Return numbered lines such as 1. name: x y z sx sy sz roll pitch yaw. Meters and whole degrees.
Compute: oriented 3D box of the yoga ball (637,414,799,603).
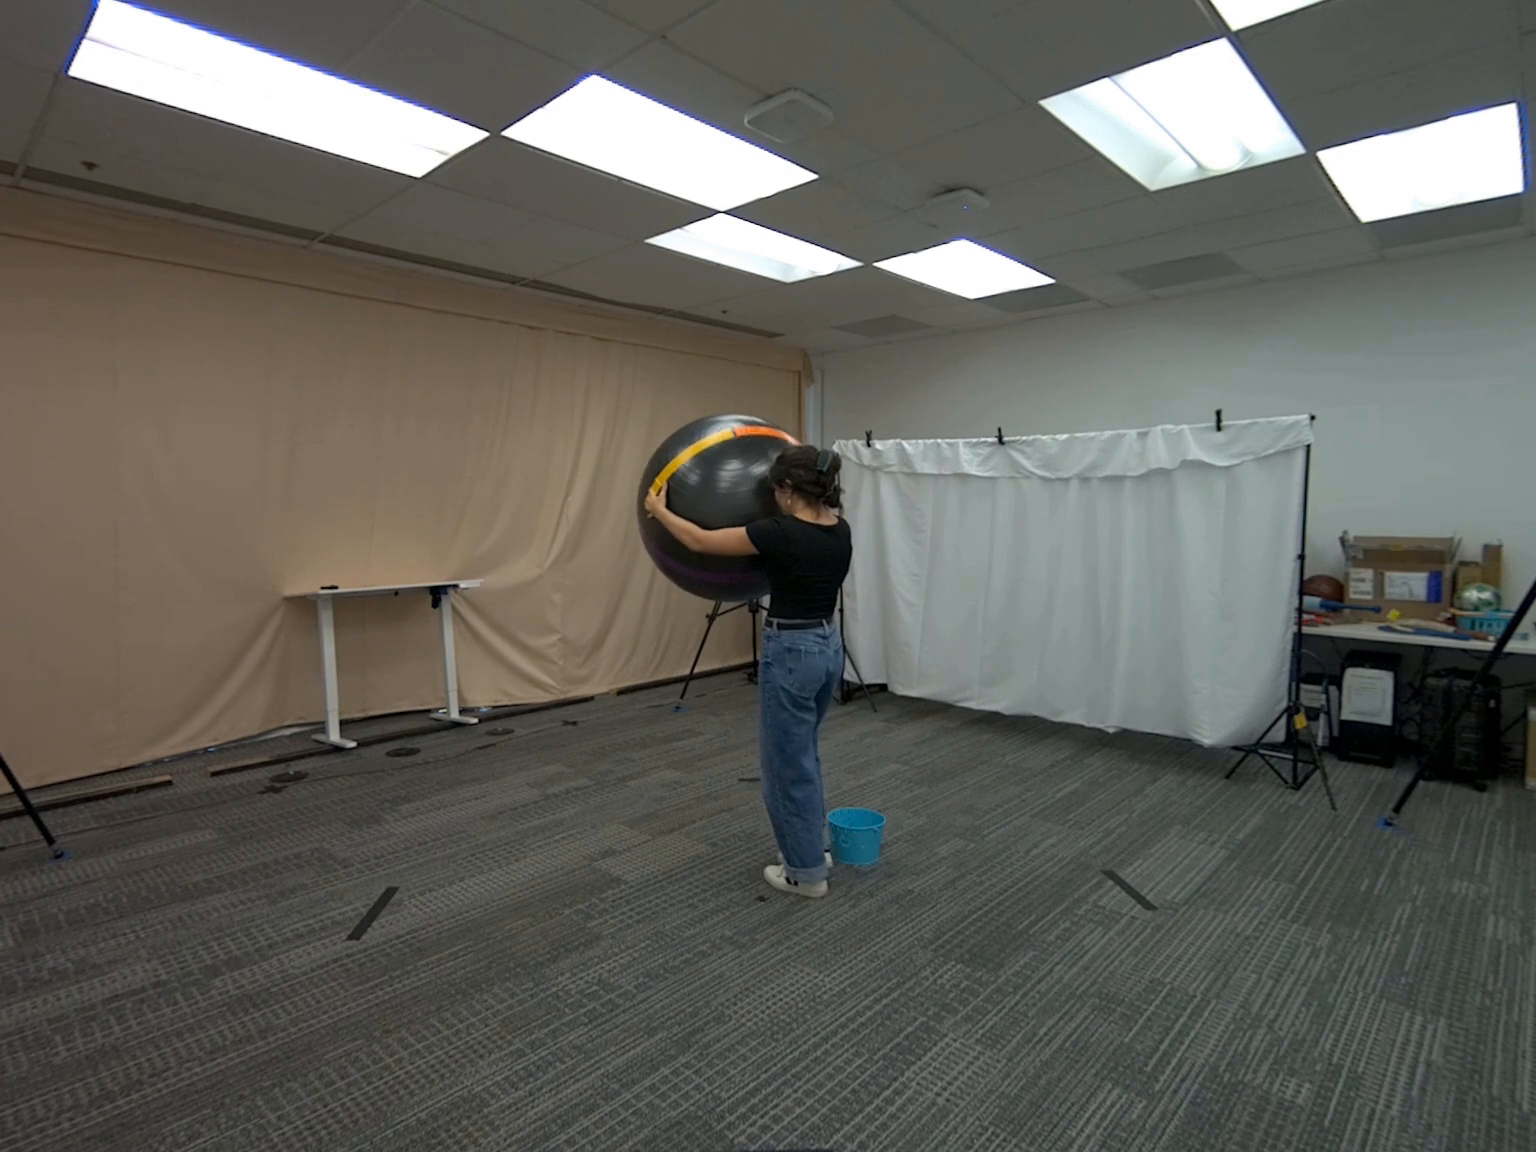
1. yoga ball: -0.144 -0.265 3.396 0.757 0.756 0.760 0 4 -2
